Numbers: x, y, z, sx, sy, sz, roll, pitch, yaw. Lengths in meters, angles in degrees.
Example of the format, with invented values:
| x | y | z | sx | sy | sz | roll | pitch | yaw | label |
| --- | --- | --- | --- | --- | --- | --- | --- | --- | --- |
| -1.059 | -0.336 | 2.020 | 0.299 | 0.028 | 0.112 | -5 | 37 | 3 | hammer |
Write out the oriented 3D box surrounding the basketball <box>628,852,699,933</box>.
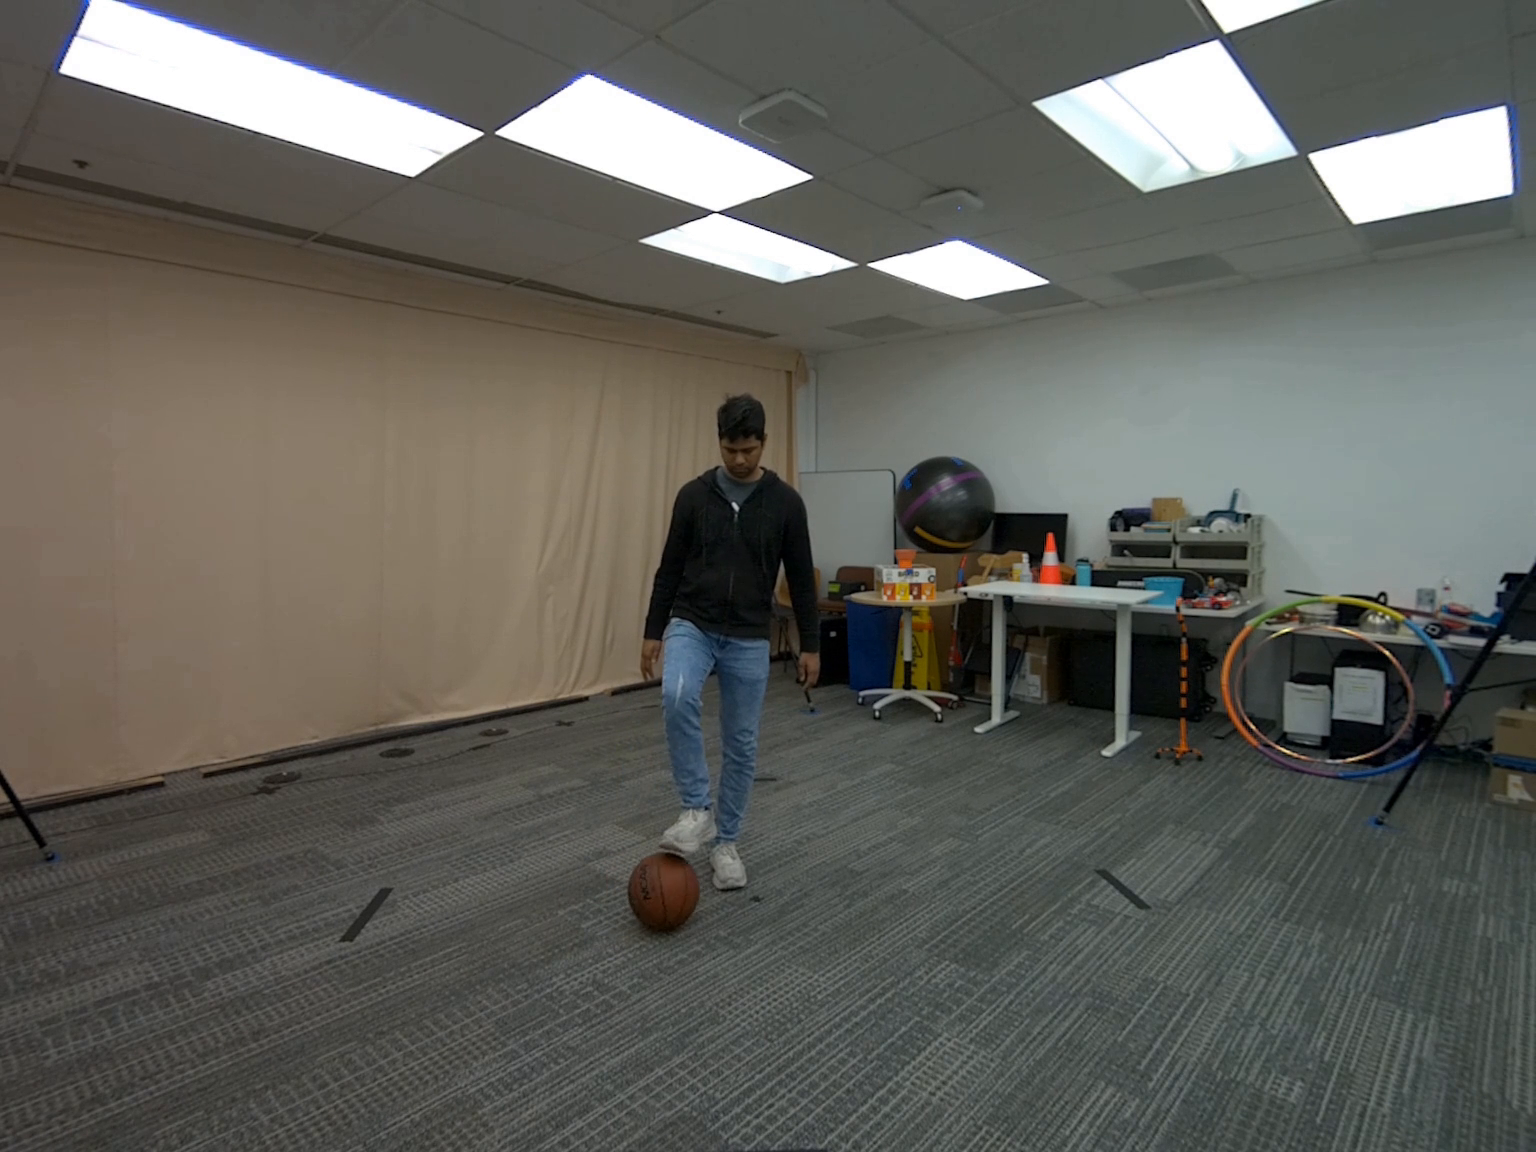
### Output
| x | y | z | sx | sy | sz | roll | pitch | yaw | label |
| --- | --- | --- | --- | --- | --- | --- | --- | --- | --- |
| -0.343 | 1.041 | 2.789 | 0.236 | 0.235 | 0.237 | 0 | 4 | -2 | basketball |
